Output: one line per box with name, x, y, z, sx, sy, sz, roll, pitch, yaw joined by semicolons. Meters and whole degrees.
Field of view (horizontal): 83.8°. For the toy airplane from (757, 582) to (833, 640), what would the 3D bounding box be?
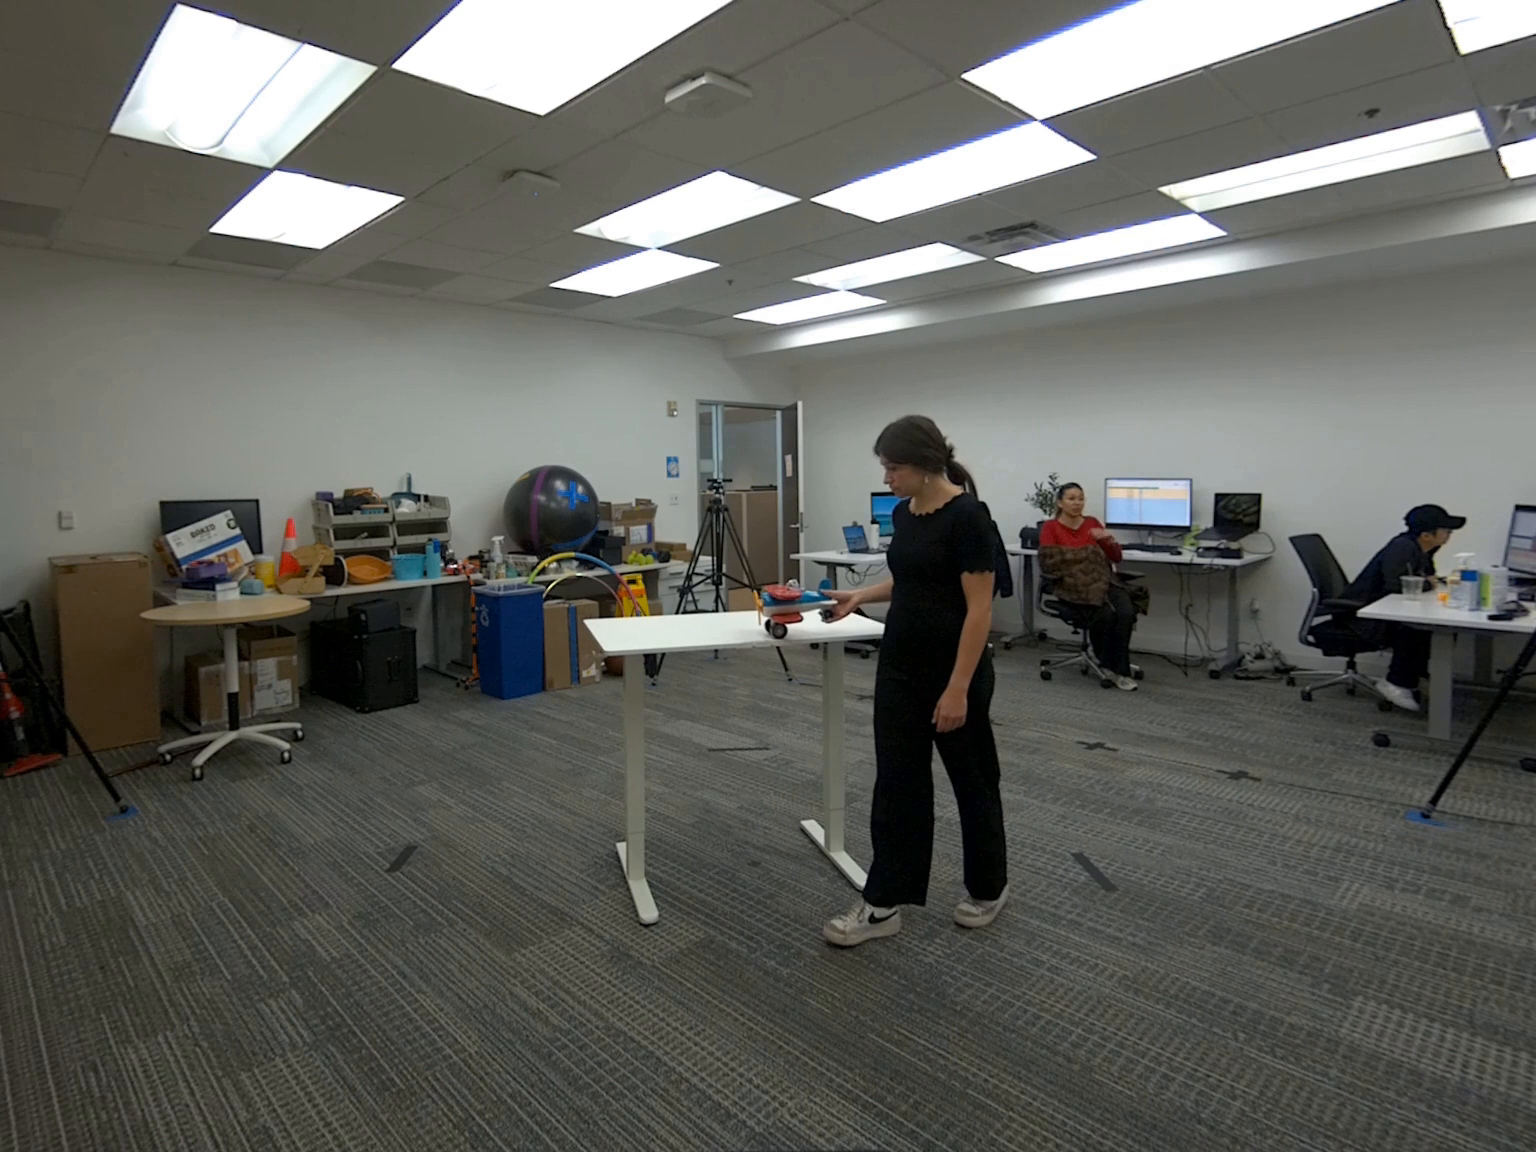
toy airplane;0.090;0.095;2.810;0.255;0.155;0.257;-24;11;-33
